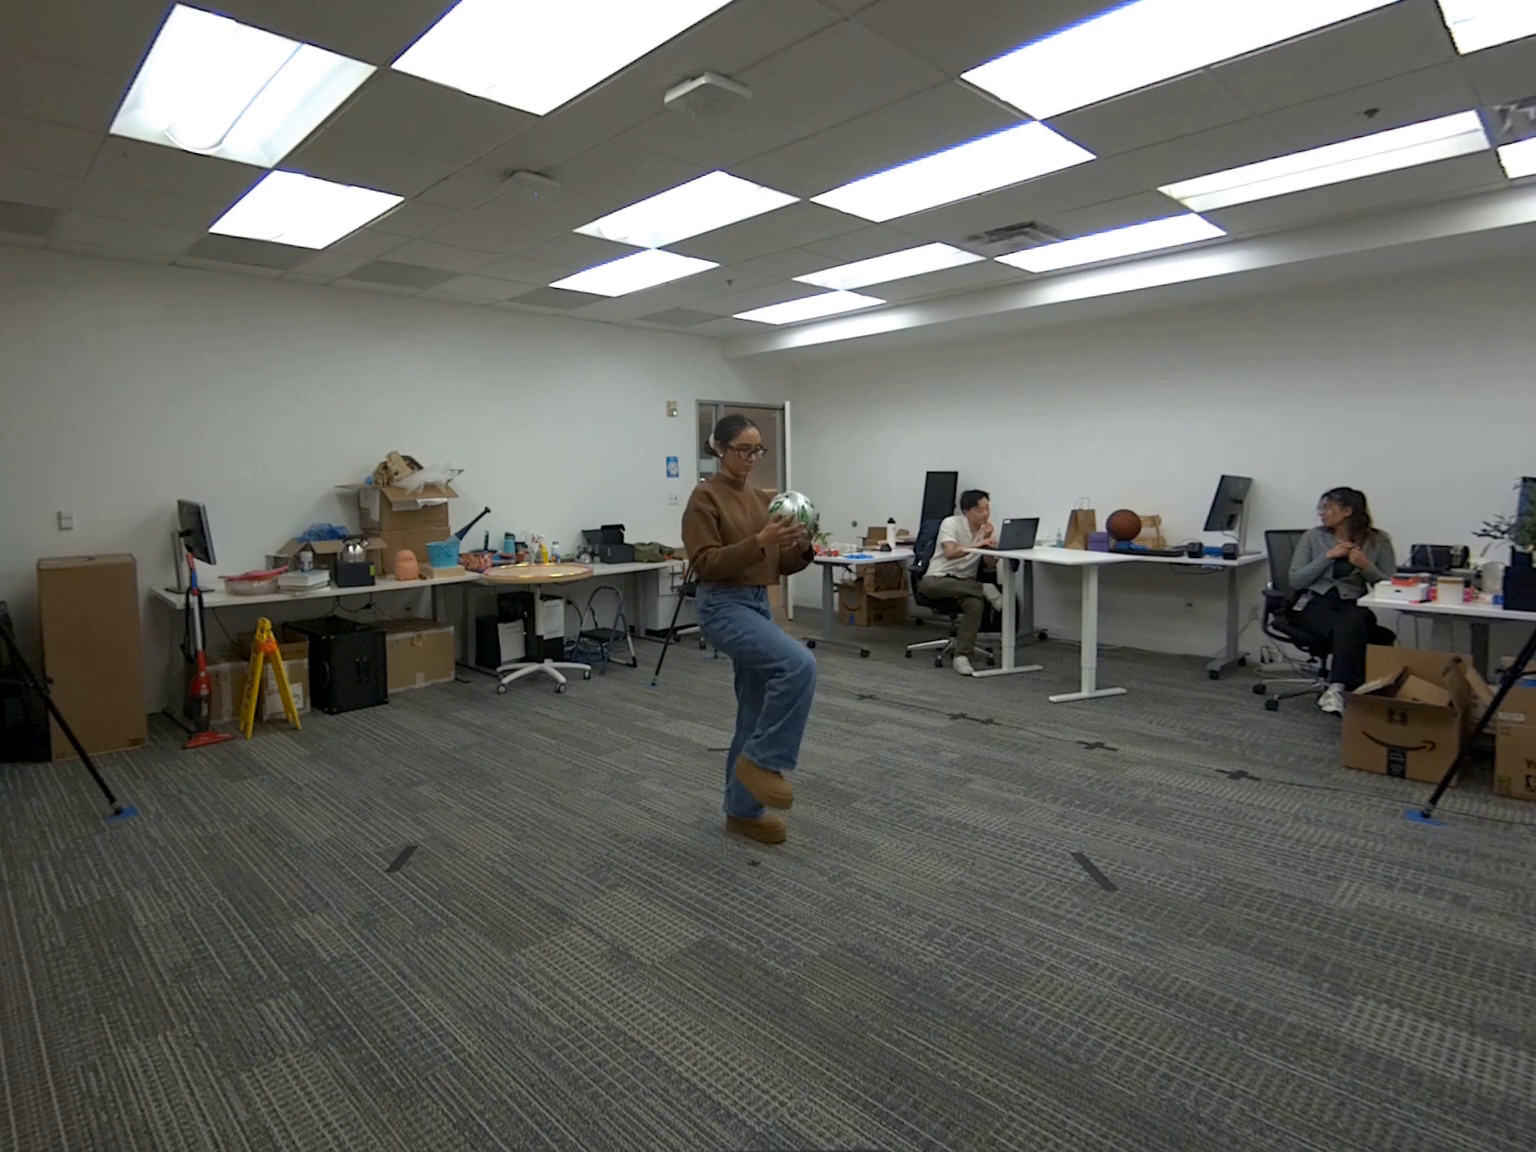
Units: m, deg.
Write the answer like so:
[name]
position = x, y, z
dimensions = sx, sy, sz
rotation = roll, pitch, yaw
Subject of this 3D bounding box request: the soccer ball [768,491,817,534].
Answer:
[soccer ball]
position = 0.096, -0.212, 3.121
dimensions = 0.187, 0.187, 0.188
rotation = -1, 5, -2
